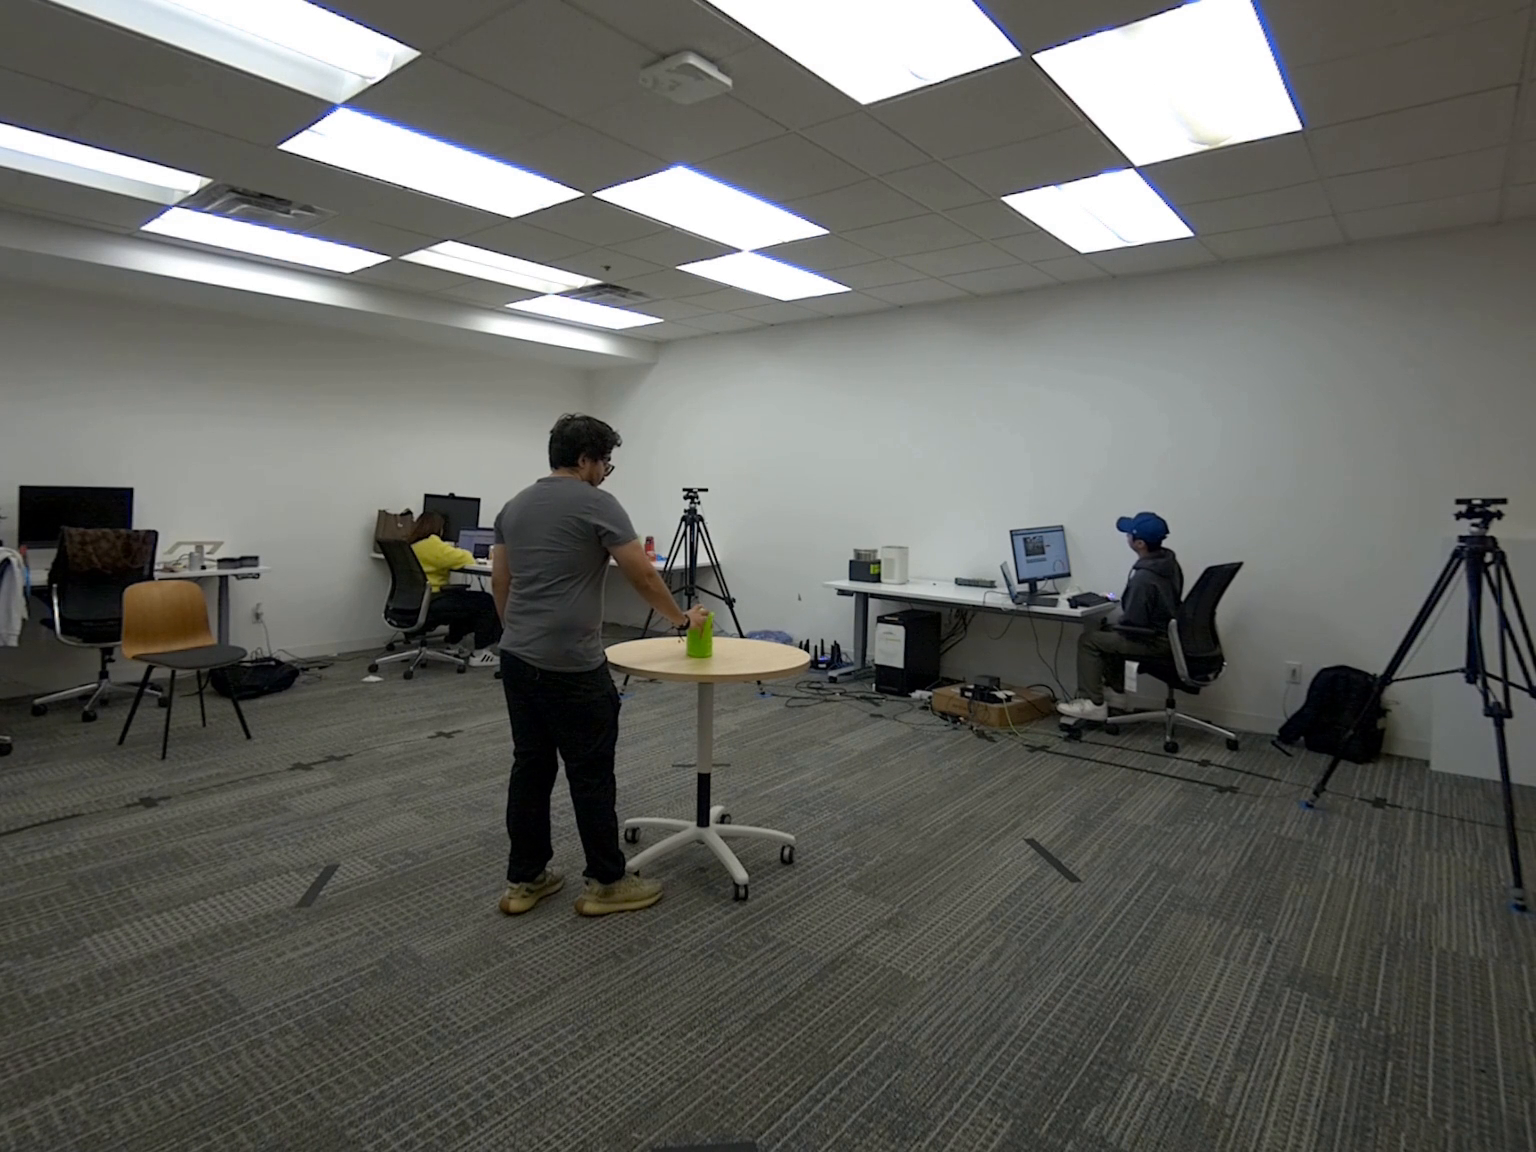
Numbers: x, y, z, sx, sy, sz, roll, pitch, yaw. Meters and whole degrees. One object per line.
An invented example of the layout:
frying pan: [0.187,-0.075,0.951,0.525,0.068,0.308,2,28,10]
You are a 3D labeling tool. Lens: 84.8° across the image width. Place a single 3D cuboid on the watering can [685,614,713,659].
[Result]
watering can: [-0.259,0.205,3.057,0.097,0.176,0.280,0,2,-7]
